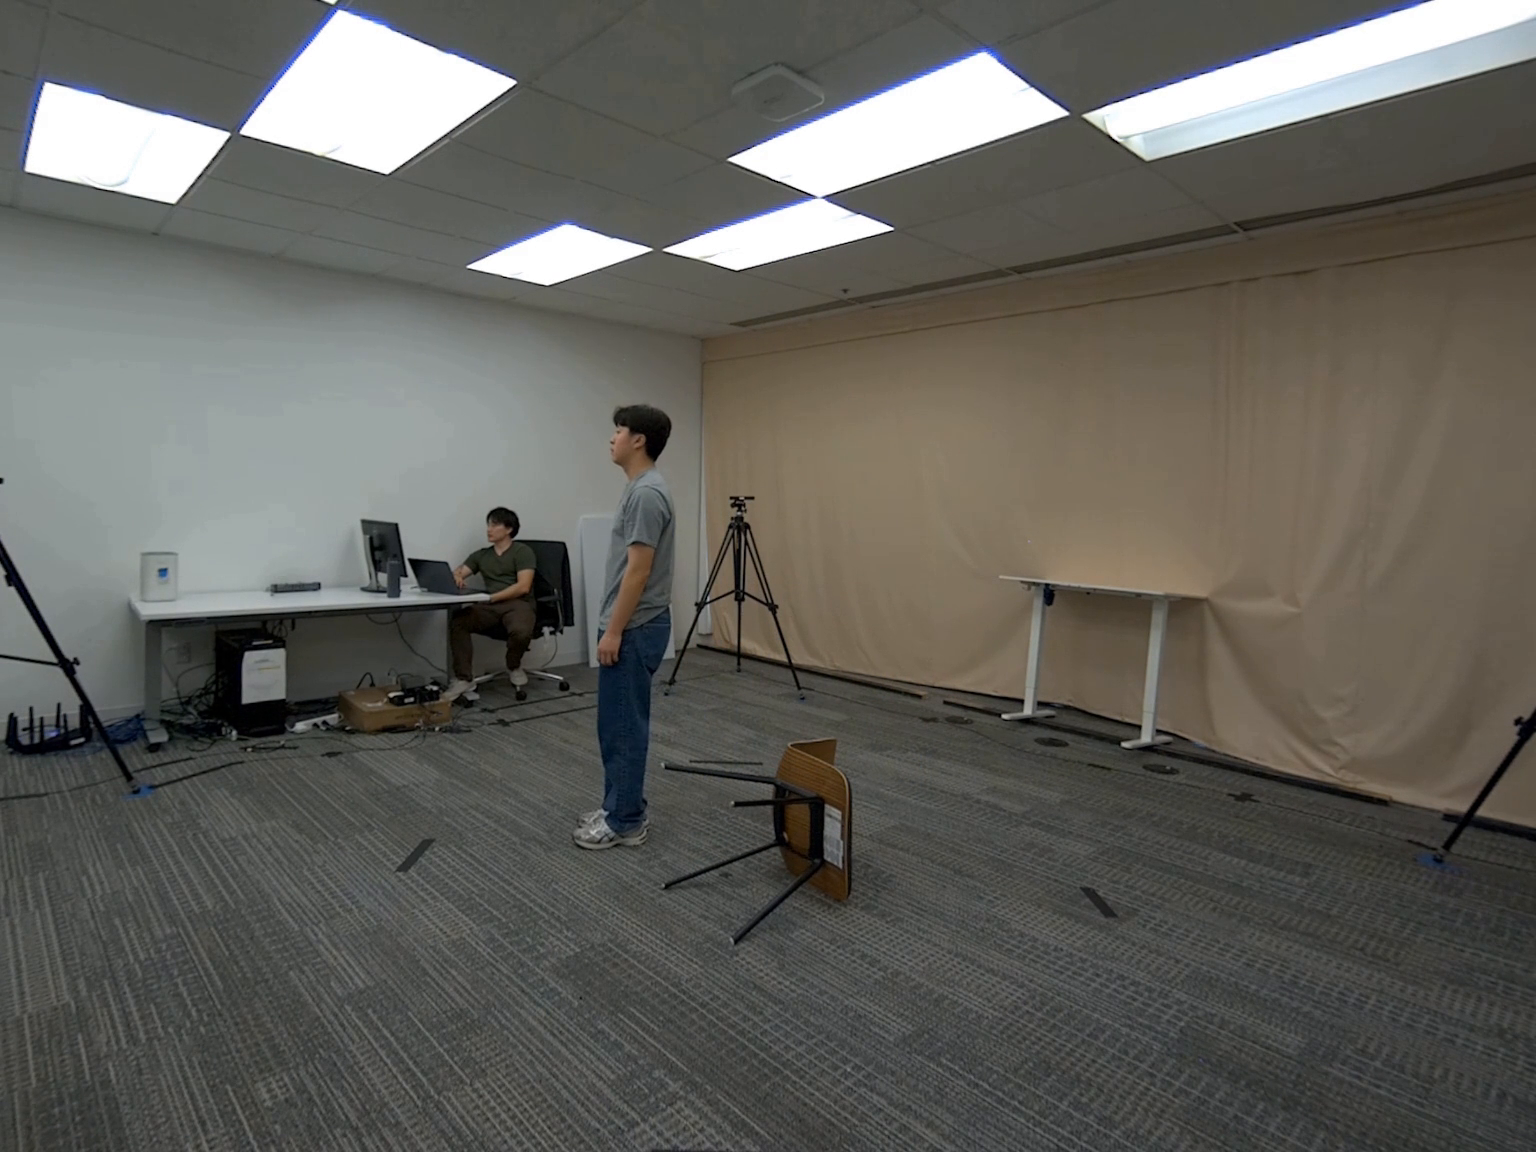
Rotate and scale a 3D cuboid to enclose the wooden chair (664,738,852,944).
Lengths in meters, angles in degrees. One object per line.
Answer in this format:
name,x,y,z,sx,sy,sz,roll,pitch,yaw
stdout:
wooden chair,0.099,0.887,3.014,0.858,0.477,0.536,-3,6,-39
